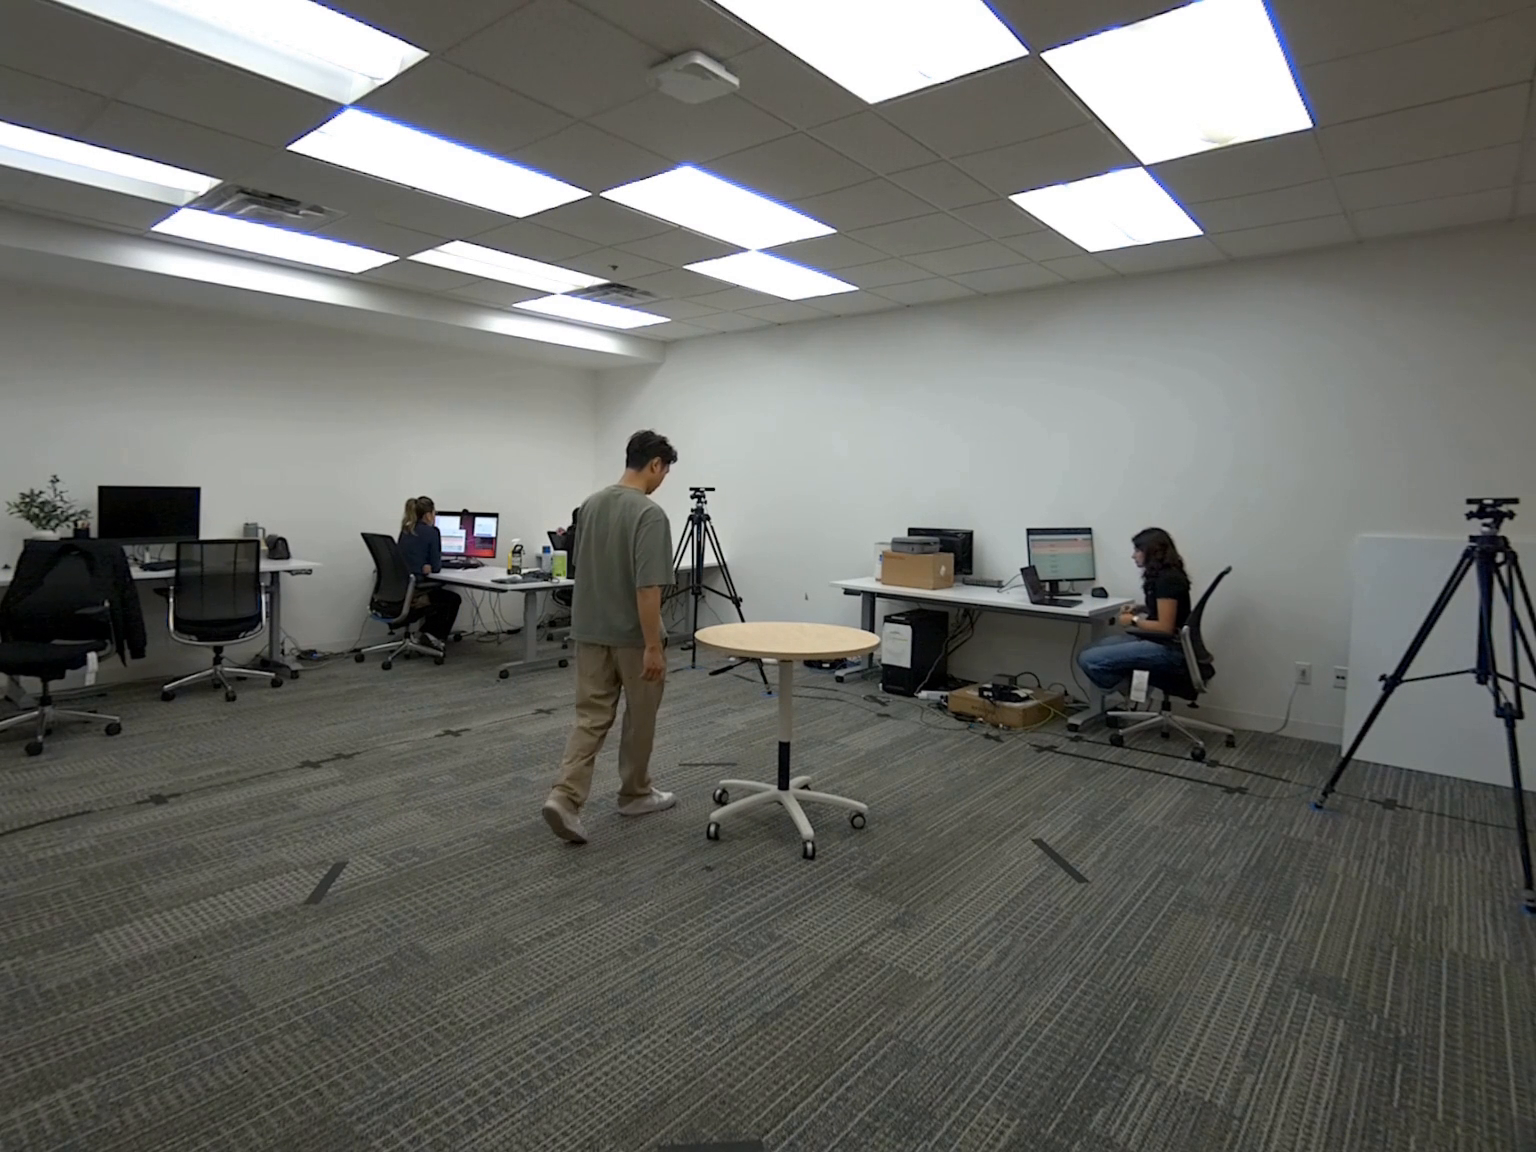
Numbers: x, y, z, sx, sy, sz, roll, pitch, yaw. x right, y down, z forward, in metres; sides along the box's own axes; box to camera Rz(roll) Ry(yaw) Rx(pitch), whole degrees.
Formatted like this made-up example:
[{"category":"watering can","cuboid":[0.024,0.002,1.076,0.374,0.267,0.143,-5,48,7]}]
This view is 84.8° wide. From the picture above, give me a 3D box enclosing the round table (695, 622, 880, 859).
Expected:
[{"category":"round table","cuboid":[0.047,0.636,3.537,0.784,0.784,0.788,1,4,-2]}]
